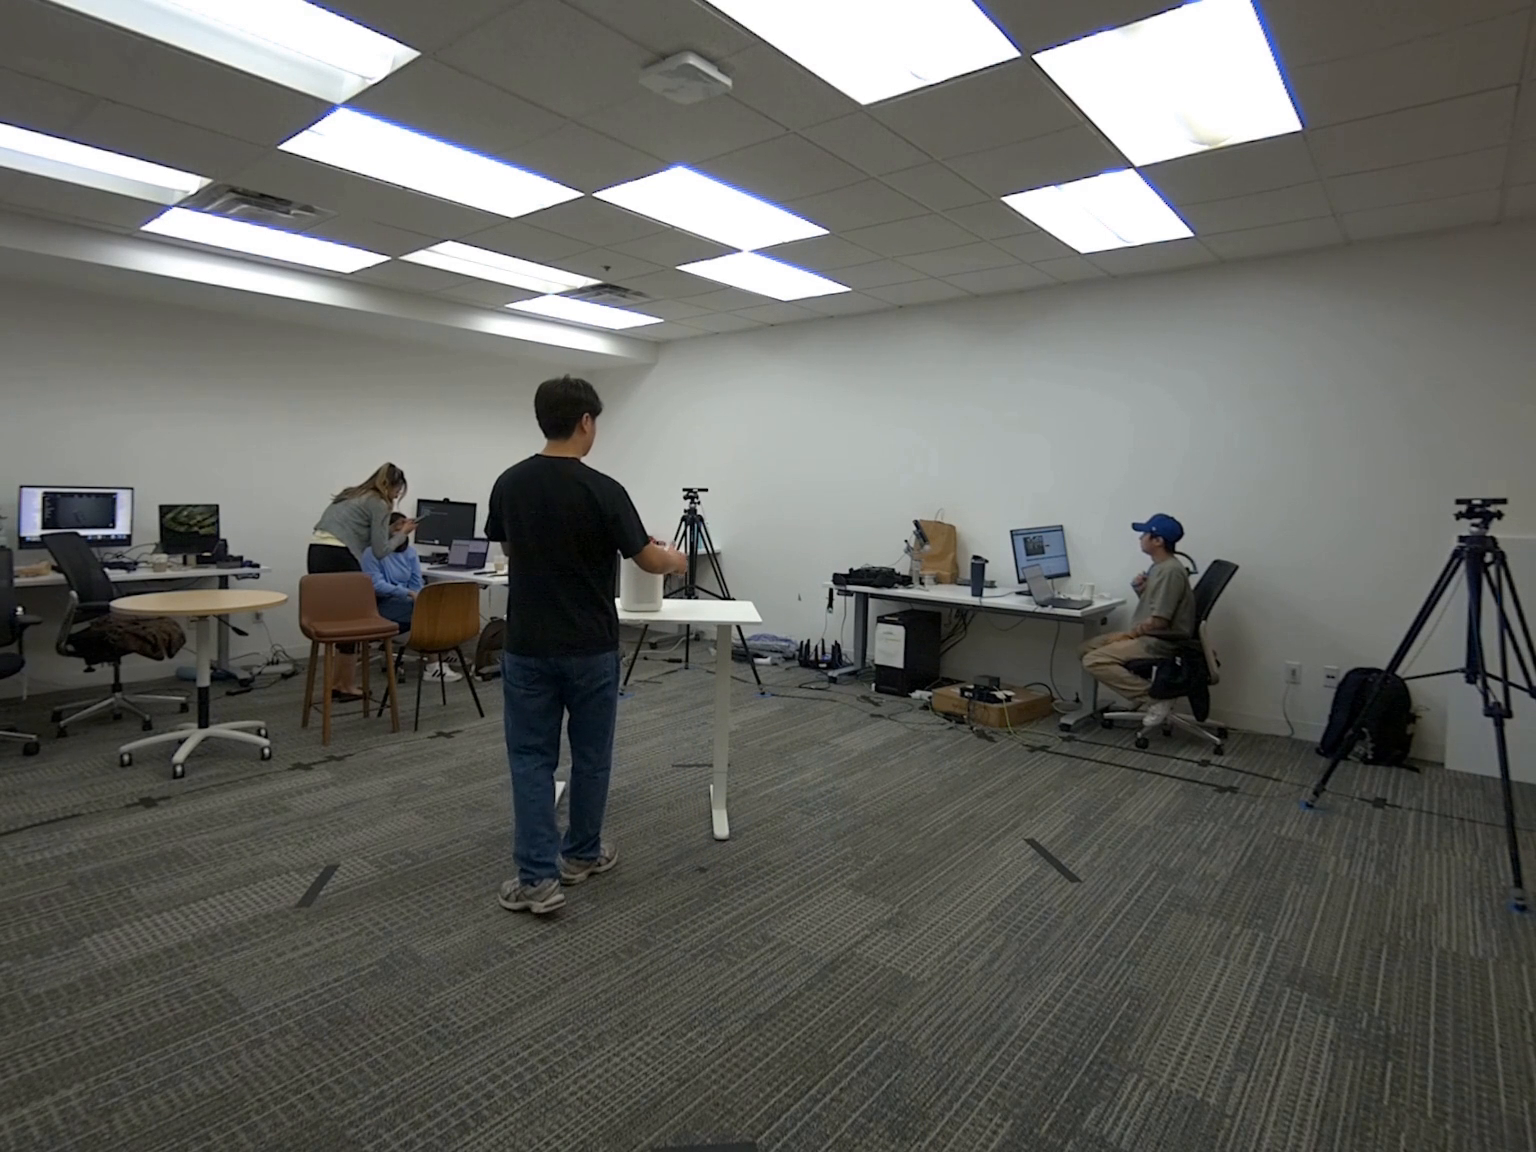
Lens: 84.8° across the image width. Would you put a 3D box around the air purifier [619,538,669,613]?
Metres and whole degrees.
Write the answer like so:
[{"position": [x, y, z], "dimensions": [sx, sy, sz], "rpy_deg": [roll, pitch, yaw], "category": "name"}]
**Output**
[{"position": [-0.538, 0.012, 3.563], "dimensions": [0.169, 0.265, 0.174], "rpy_deg": [1, 1, -14], "category": "air purifier"}]
